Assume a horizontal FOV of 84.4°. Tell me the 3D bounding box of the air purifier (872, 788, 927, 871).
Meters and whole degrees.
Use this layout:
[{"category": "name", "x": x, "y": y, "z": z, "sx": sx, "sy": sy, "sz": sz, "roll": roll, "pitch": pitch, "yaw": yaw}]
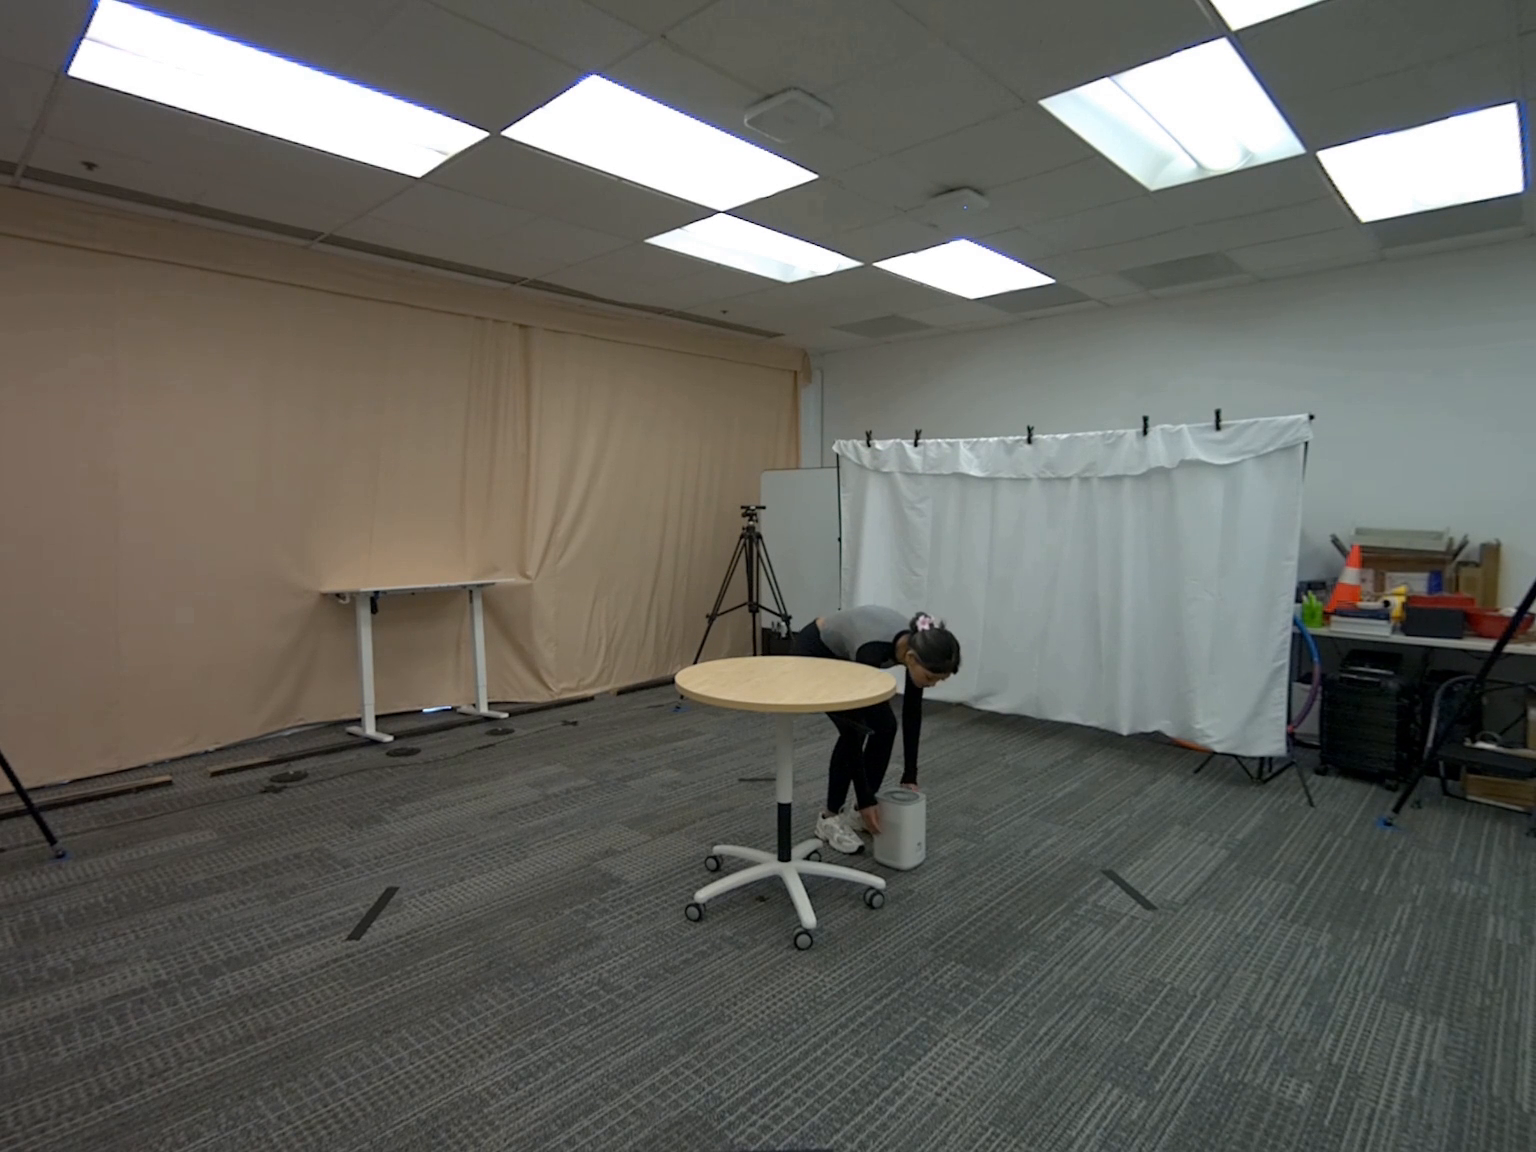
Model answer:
[{"category": "air purifier", "x": 0.516, "y": 0.987, "z": 3.274, "sx": 0.177, "sy": 0.265, "sz": 0.166, "roll": 4, "pitch": 5, "yaw": 40}]
